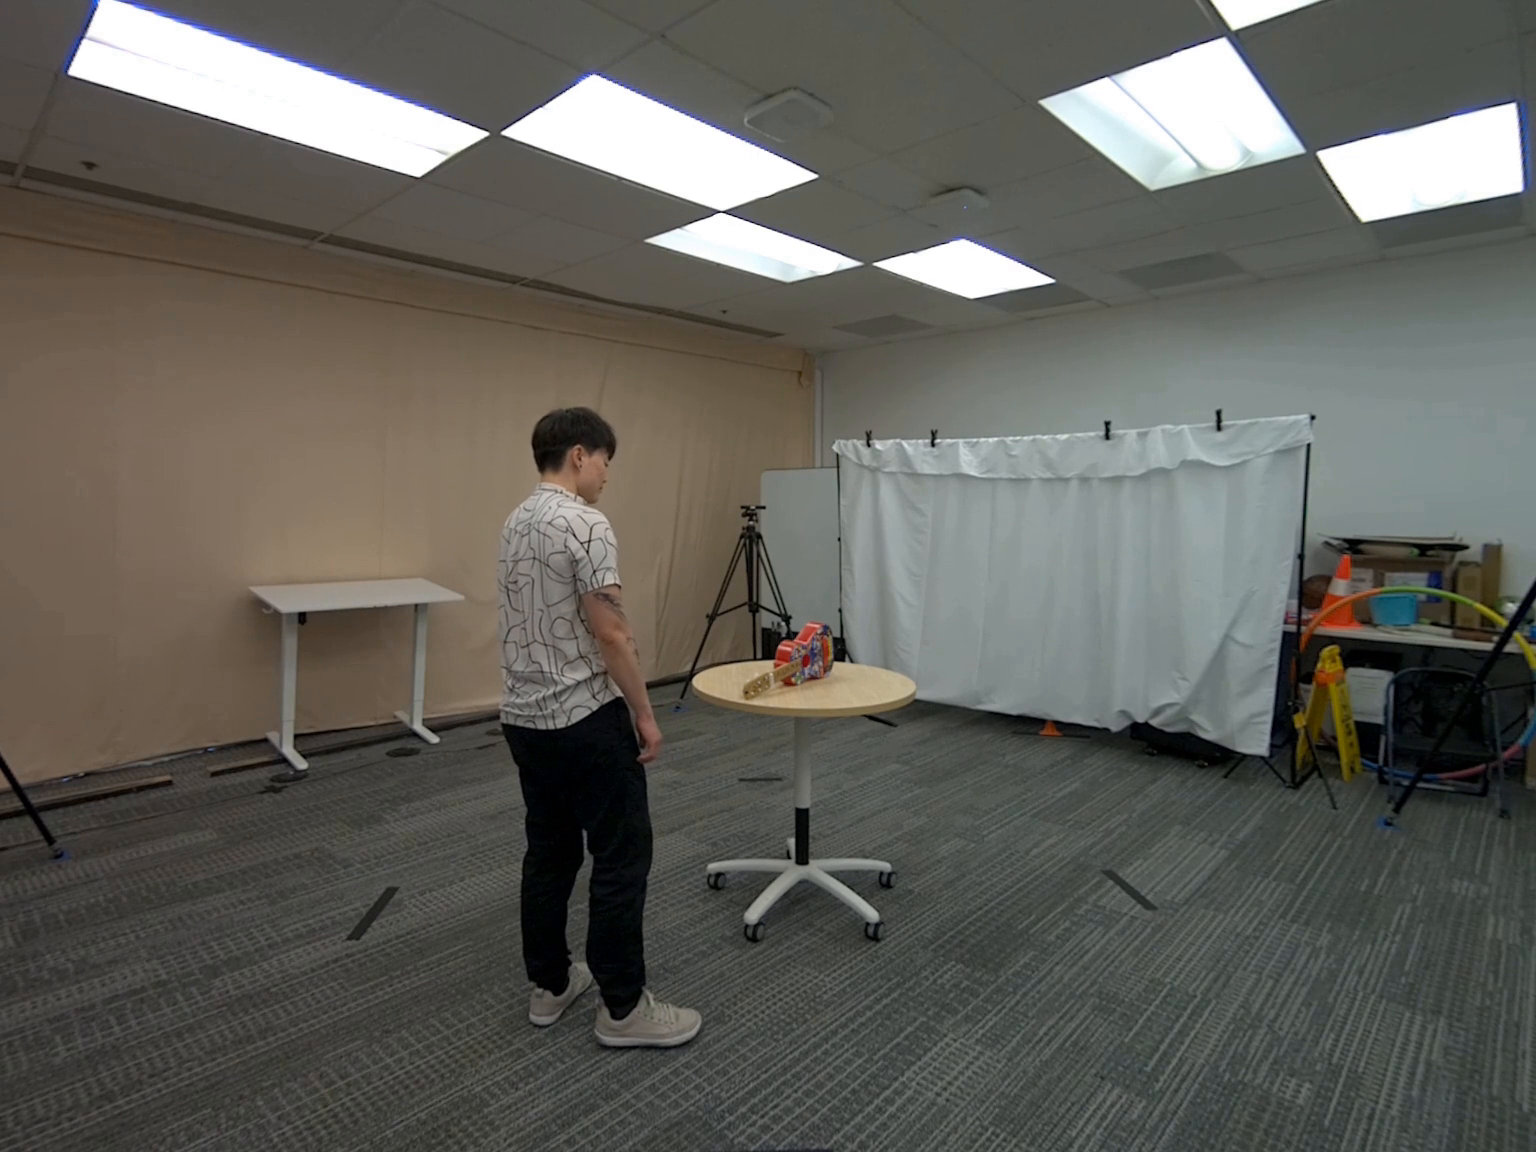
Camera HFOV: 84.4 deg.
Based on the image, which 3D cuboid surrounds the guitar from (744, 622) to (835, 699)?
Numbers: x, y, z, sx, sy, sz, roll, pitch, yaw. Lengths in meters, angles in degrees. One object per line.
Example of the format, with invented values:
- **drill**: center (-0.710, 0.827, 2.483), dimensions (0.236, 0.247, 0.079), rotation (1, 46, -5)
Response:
- **guitar**: center (0.071, 0.280, 2.824), dimensions (0.073, 0.192, 0.483), rotation (5, 8, 39)
